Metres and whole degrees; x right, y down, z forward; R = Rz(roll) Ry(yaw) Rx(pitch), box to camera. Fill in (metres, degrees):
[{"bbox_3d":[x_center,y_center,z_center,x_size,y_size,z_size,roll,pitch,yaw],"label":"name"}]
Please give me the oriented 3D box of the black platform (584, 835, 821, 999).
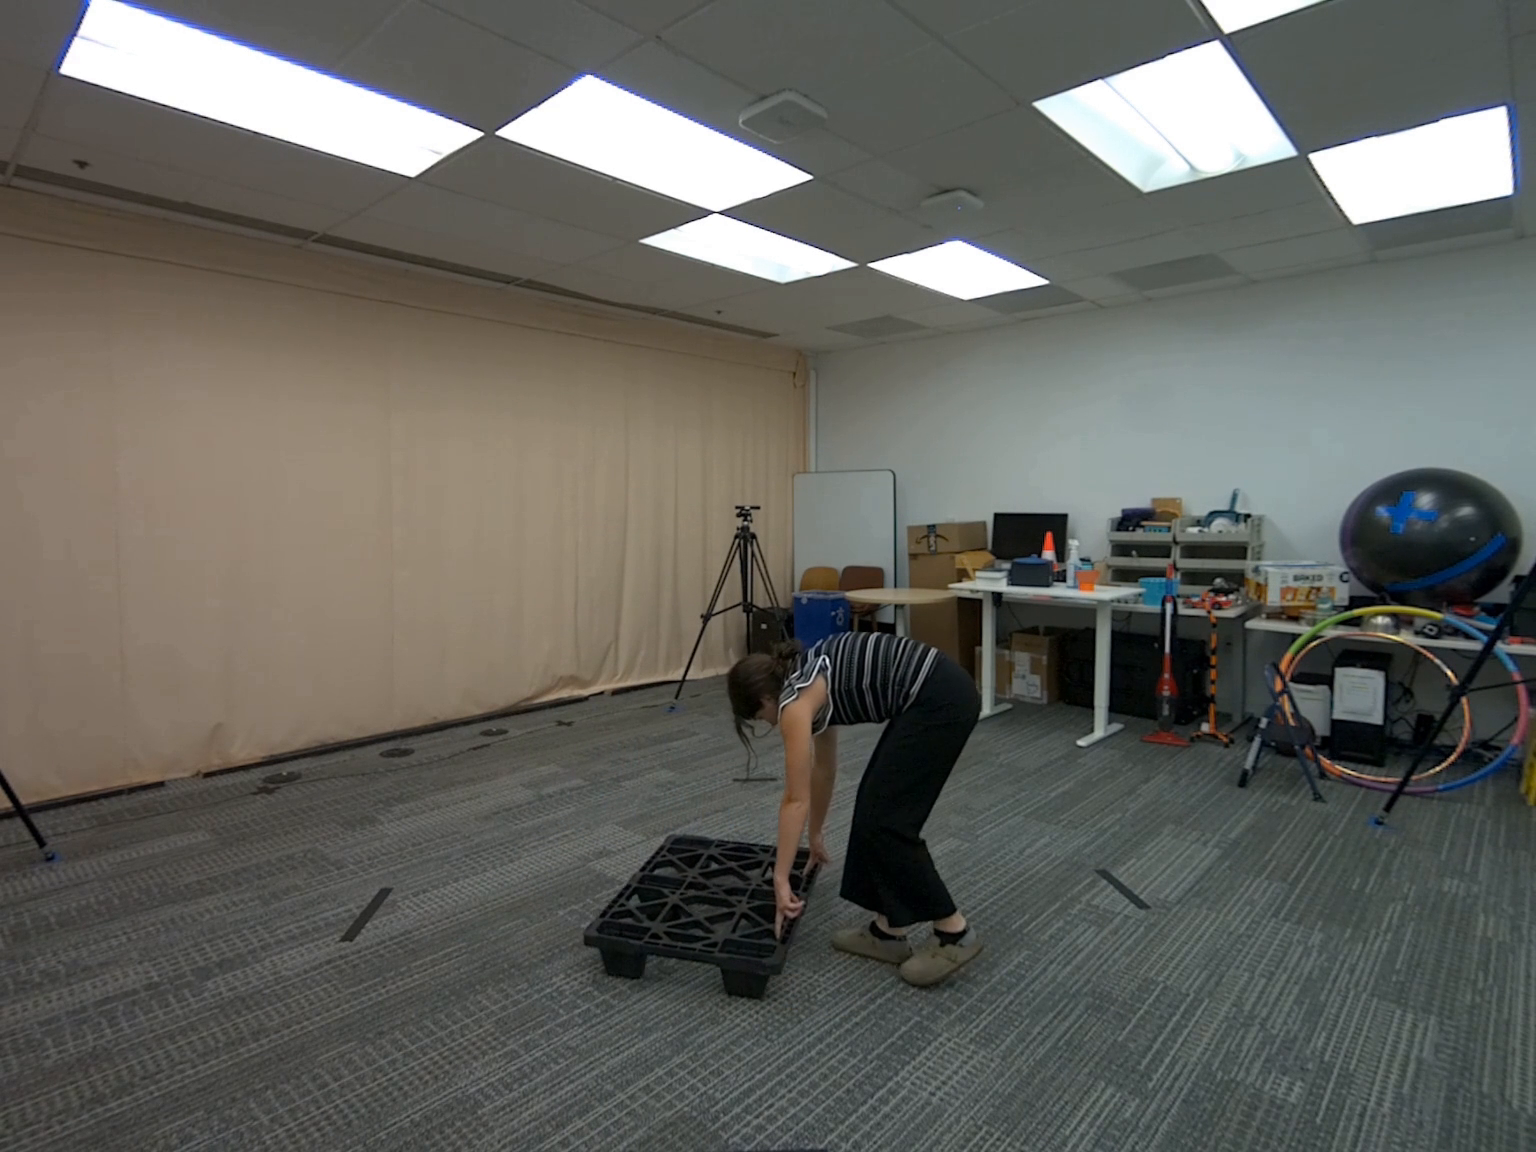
[{"bbox_3d":[-0.170,1.093,2.781,0.615,0.143,0.794,0,4,14],"label":"black platform"}]
